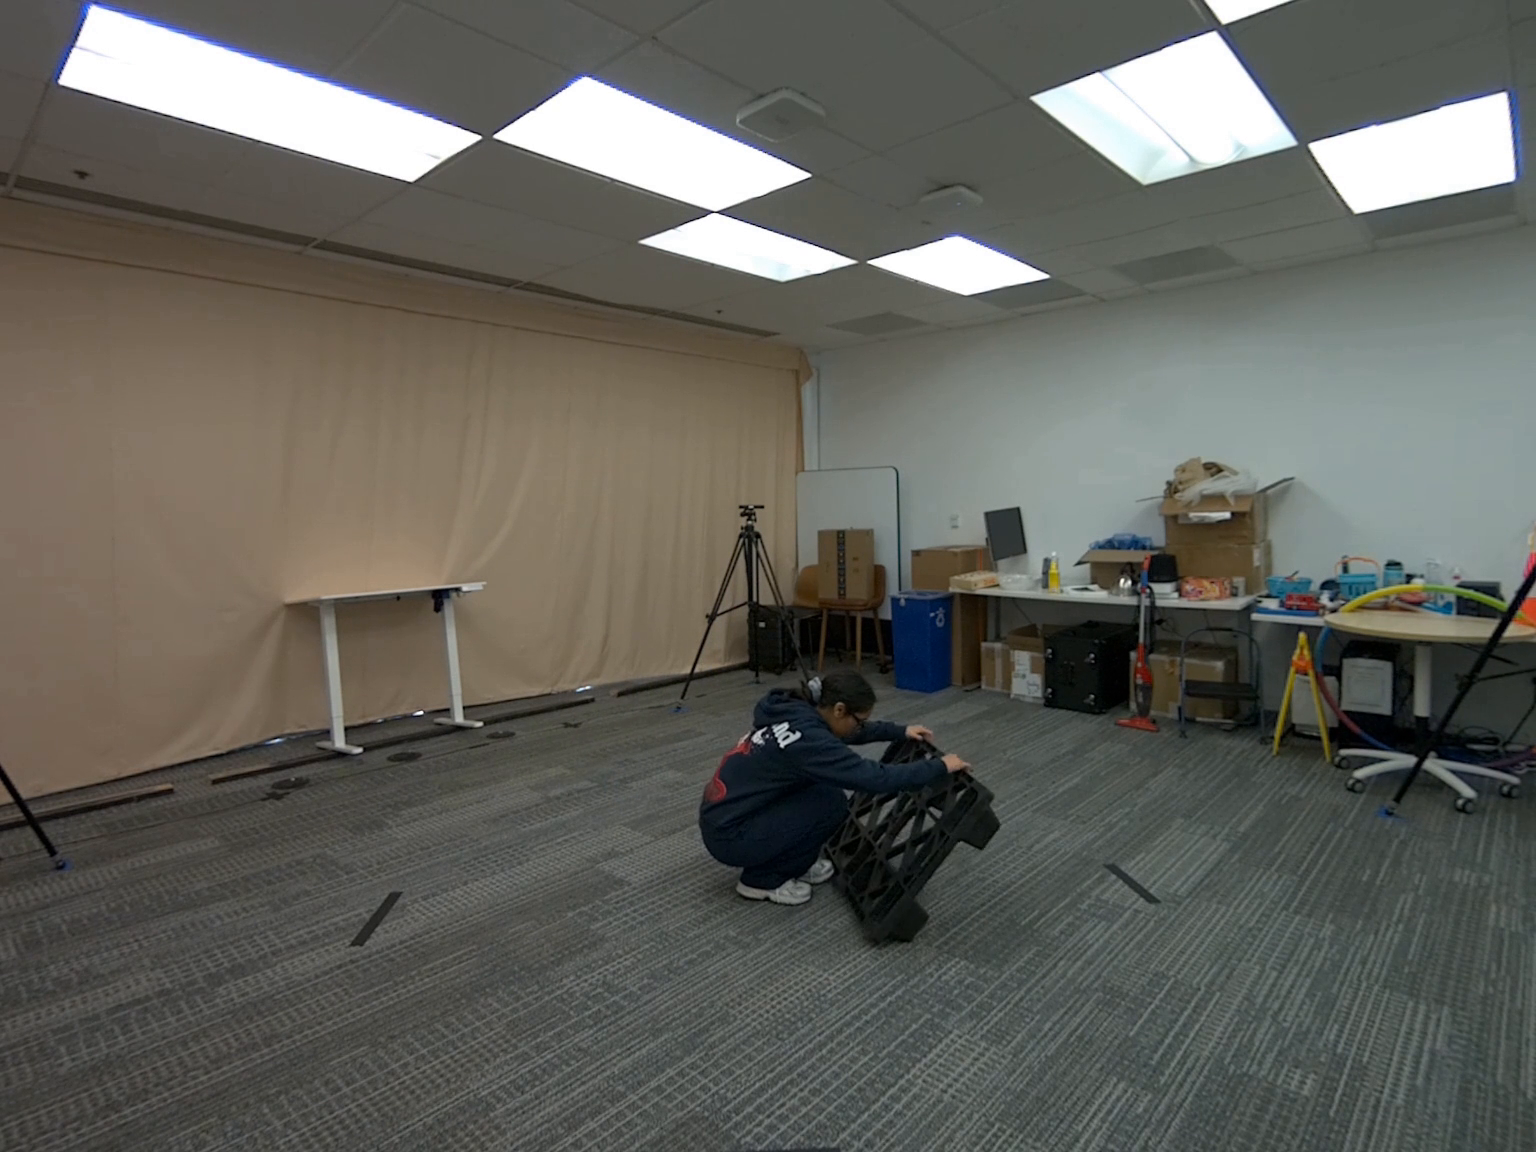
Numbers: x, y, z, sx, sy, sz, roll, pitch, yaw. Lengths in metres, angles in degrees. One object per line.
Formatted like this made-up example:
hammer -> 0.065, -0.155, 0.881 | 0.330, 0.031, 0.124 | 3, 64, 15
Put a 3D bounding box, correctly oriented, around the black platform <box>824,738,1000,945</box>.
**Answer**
black platform -> 0.490, 0.901, 3.013 | 0.142, 0.605, 0.813 | 36, -2, -9
